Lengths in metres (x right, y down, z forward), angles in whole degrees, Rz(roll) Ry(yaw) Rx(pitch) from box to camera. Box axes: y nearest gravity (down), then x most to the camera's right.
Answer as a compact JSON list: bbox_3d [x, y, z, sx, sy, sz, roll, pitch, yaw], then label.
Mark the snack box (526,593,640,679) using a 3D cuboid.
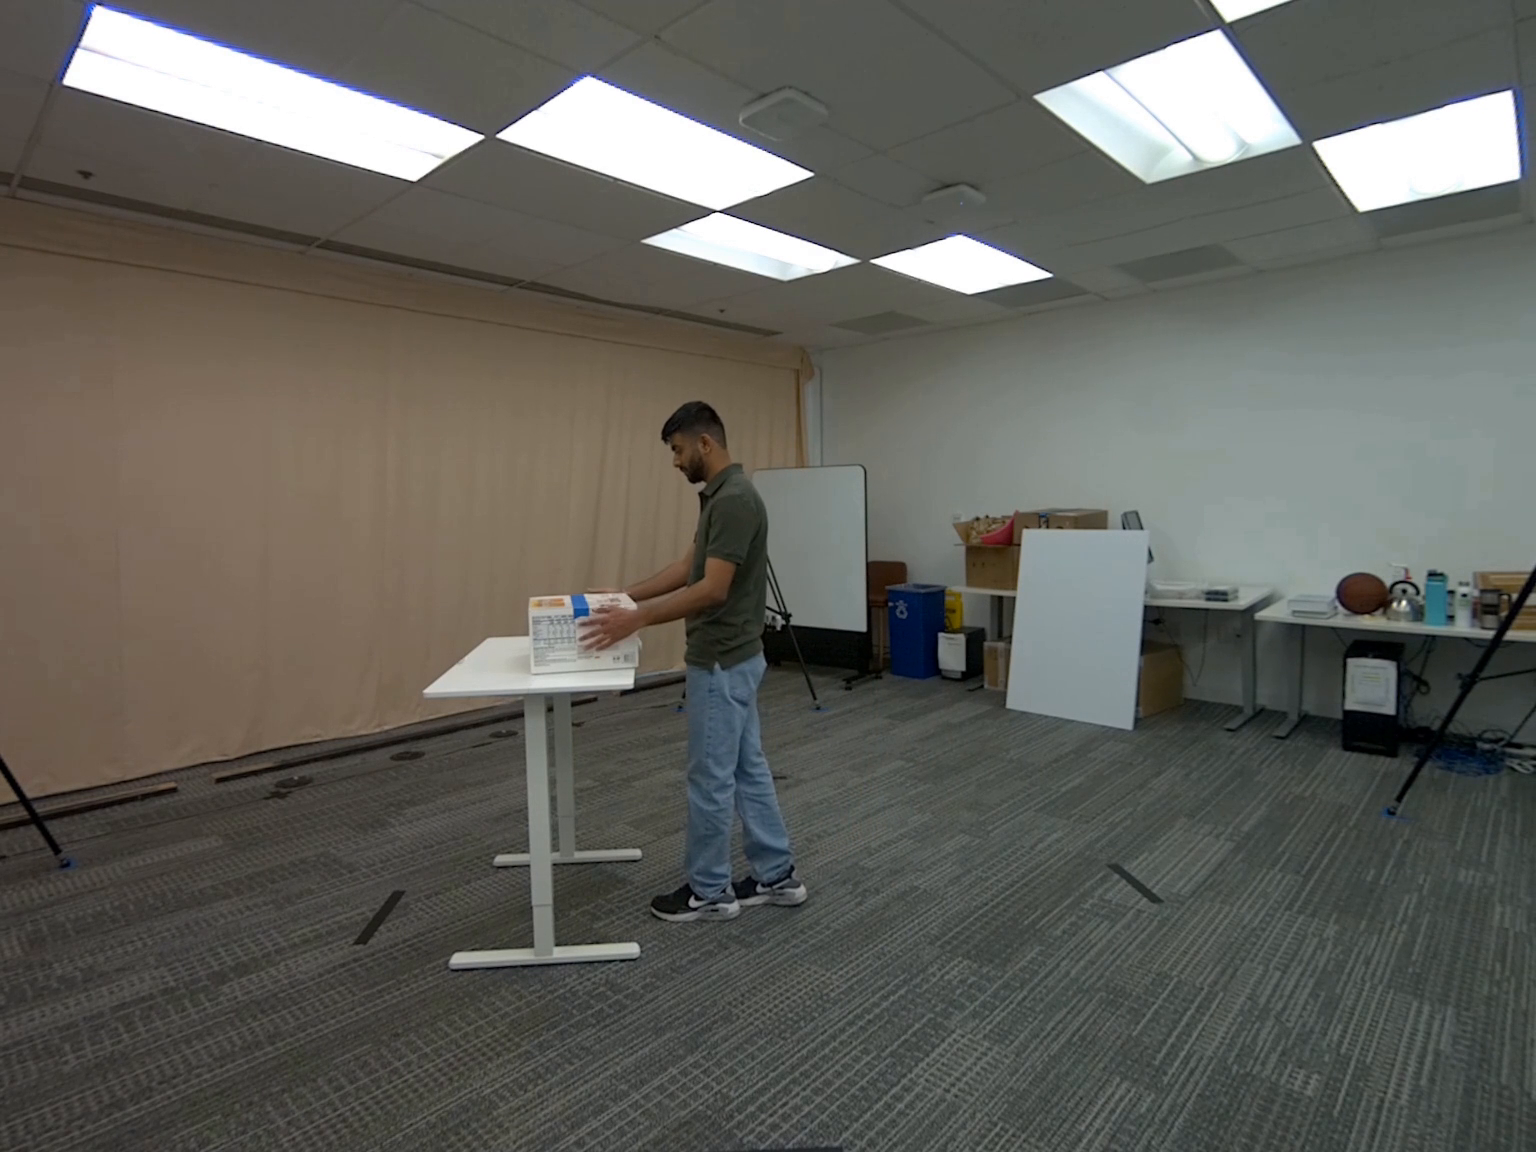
[{"bbox_3d":[-0.629,0.187,2.831,0.335,0.205,0.412,-3,5,-14],"label":"snack box"}]
